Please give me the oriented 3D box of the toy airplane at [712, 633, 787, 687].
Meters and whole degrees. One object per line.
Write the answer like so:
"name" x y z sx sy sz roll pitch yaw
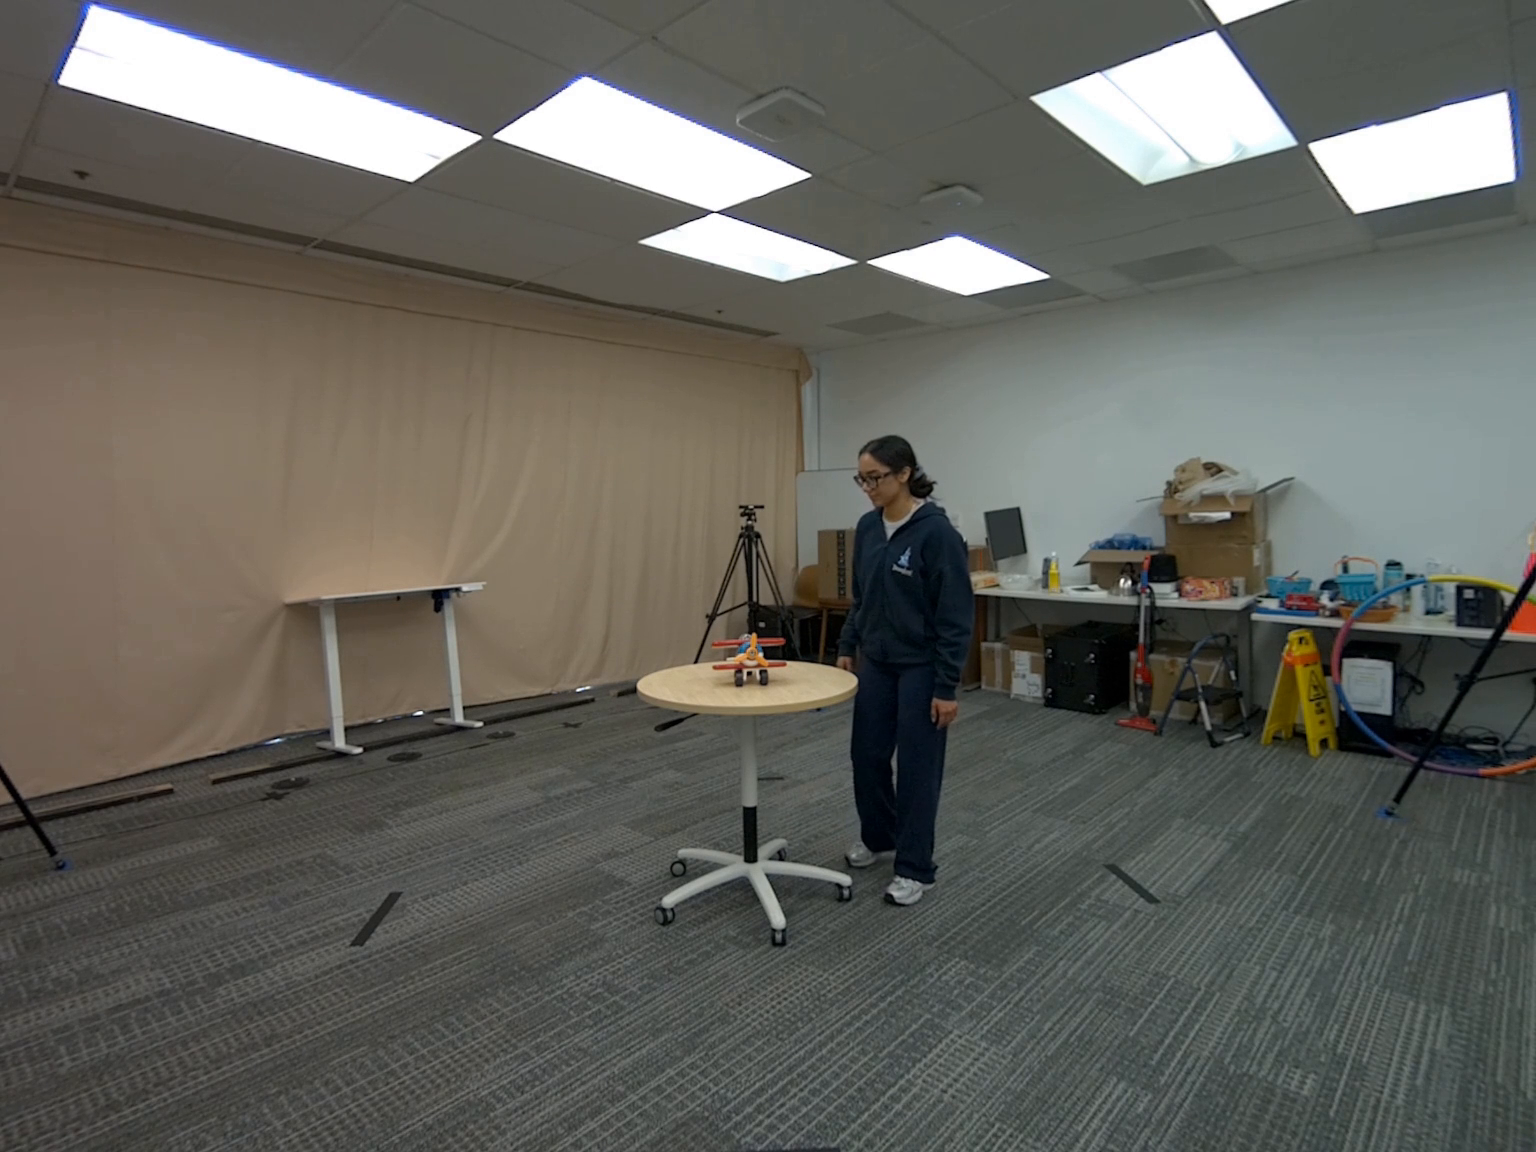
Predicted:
"toy airplane" -0.084 0.293 2.933 0.244 0.156 0.267 -4 5 -33
